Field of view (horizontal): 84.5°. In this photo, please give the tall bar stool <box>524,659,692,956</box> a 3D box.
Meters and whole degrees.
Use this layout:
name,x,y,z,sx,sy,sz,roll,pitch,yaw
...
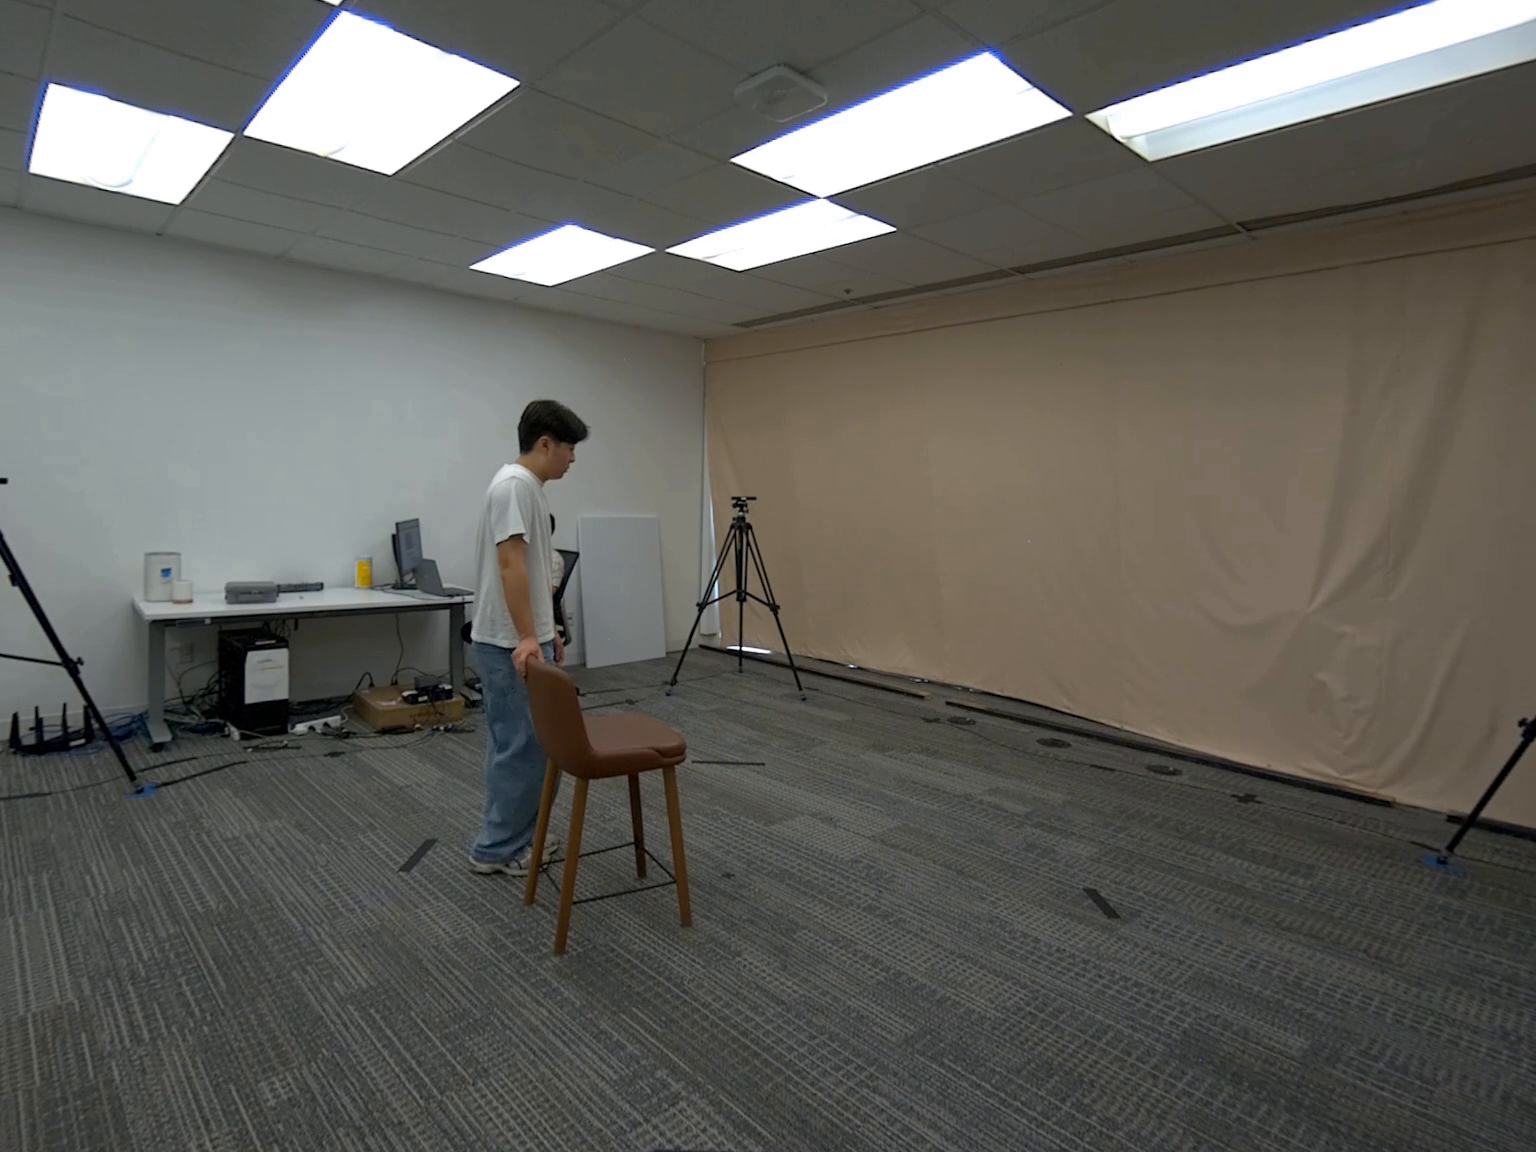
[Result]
name,x,y,z,sx,sy,sz,roll,pitch,yaw
tall bar stool,-0.543,0.692,2.769,0.458,0.887,0.467,-3,5,-30
